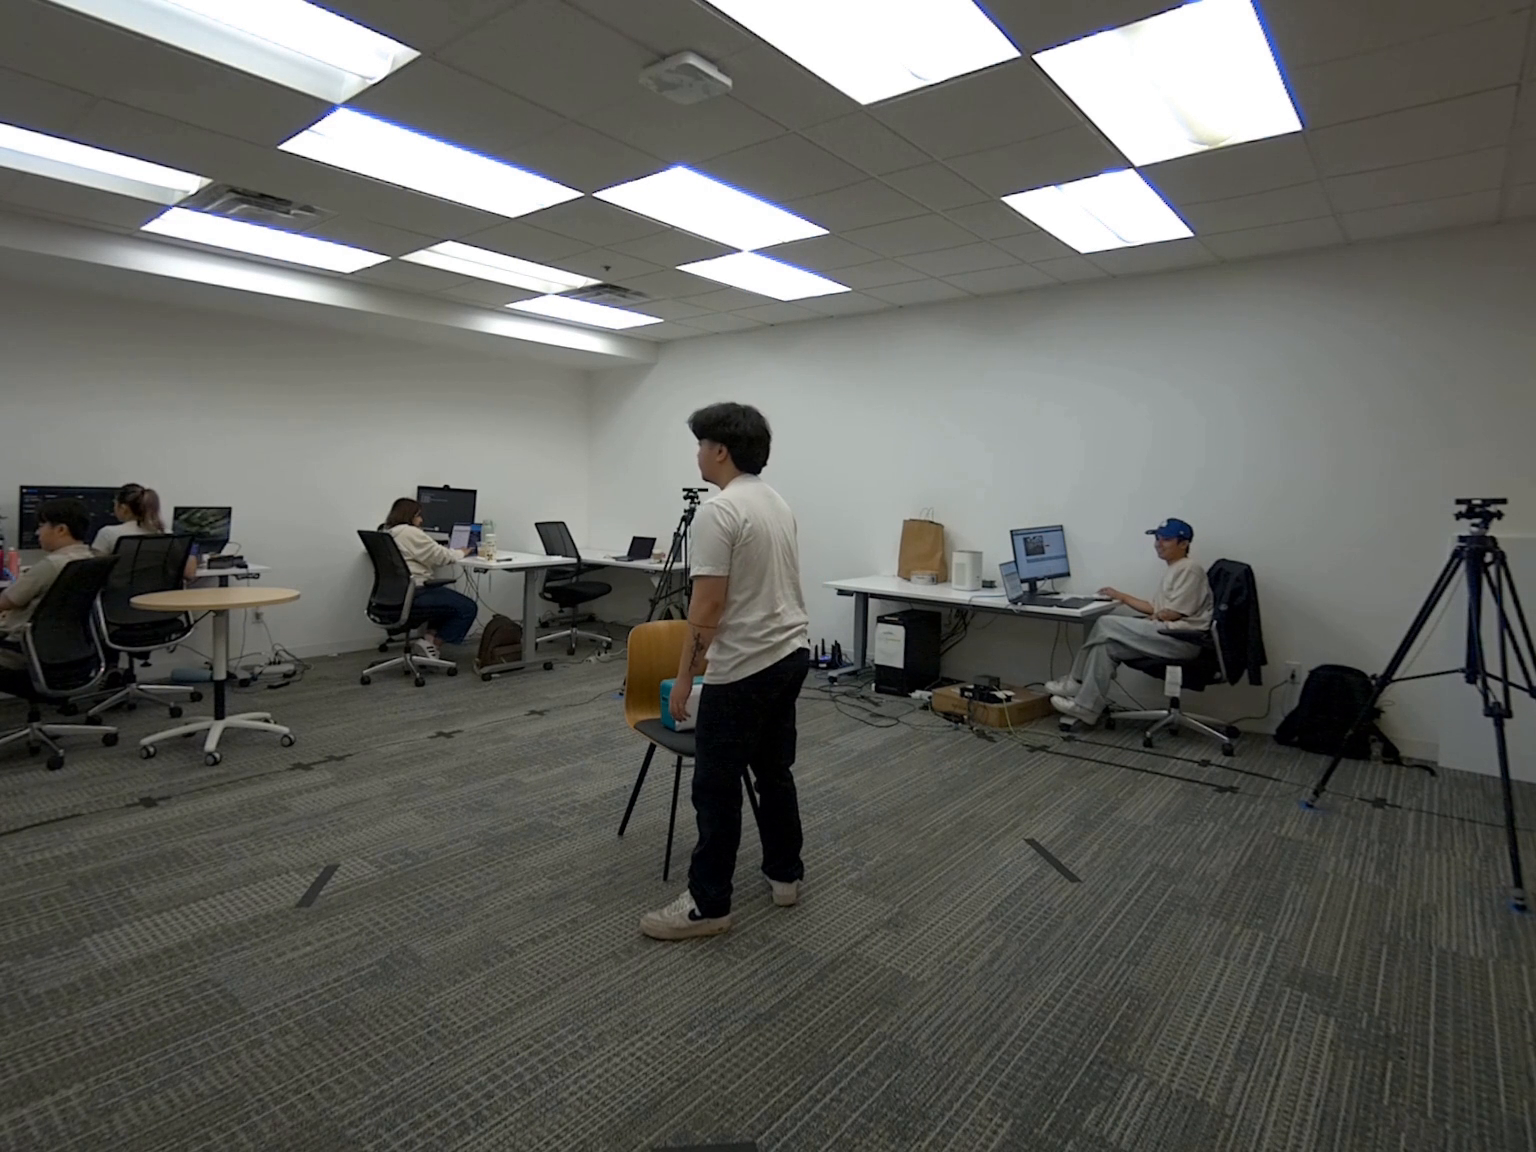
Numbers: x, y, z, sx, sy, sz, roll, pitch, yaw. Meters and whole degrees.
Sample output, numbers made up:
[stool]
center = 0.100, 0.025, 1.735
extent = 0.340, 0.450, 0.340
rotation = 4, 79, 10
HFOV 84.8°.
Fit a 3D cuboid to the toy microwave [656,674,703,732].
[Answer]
[toy microwave]
center = -0.269, 0.477, 3.250
extent = 0.279, 0.184, 0.156
rotation = -1, 0, -26
